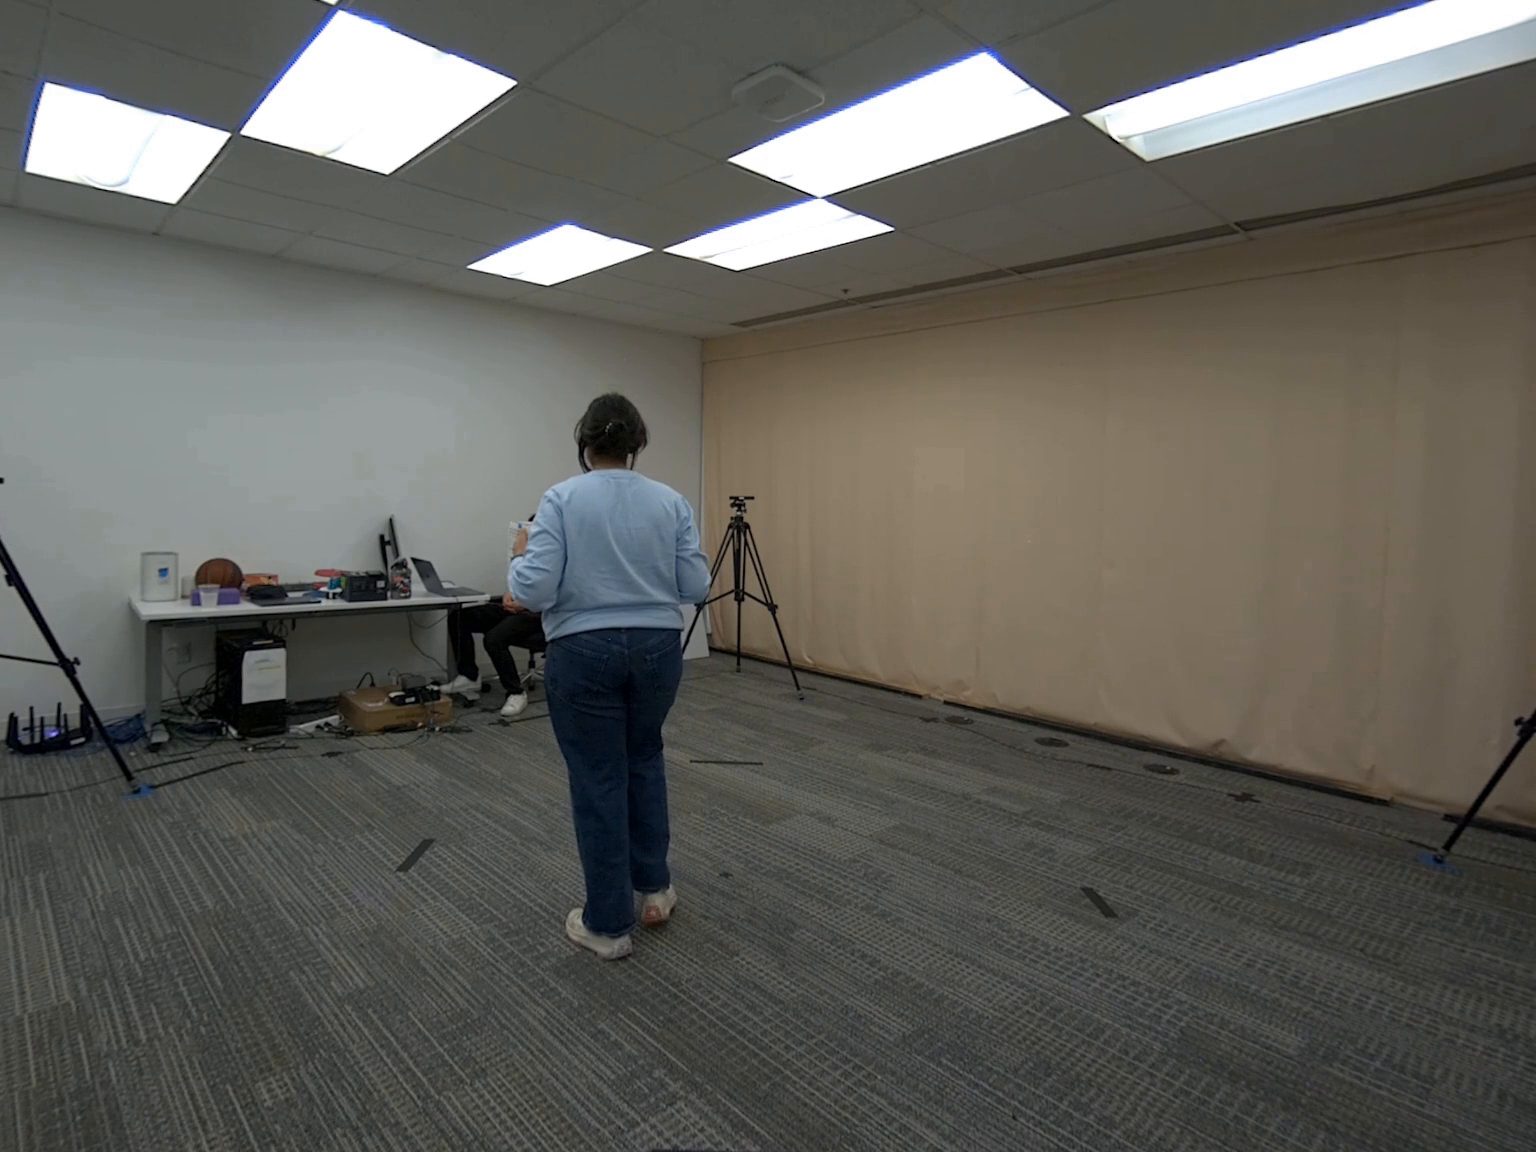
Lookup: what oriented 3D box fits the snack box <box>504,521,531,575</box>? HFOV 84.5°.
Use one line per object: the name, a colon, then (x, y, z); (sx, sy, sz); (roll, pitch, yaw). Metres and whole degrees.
snack box: (-0.650, -0.065, 2.832); (0.397, 0.205, 0.348); (1, 5, -26)
